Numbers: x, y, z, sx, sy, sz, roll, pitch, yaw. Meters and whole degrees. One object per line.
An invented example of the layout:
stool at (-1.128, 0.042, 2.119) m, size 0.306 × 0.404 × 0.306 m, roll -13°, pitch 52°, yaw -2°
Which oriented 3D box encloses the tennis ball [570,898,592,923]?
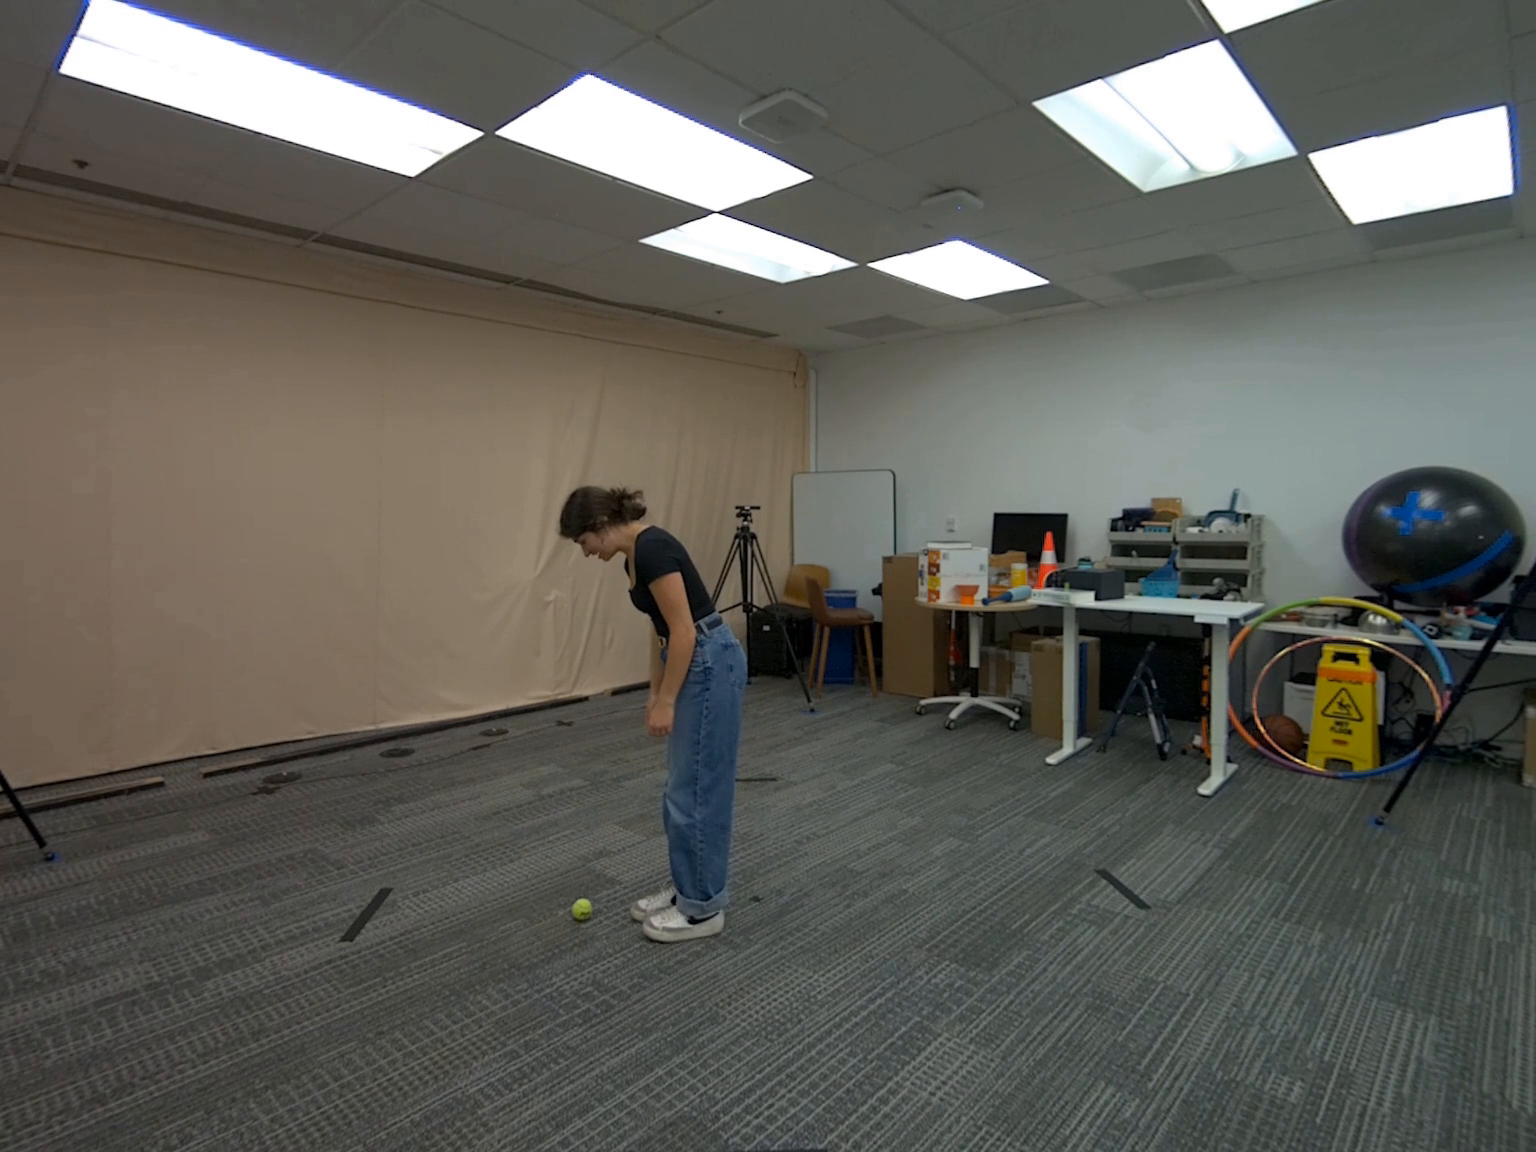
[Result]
tennis ball at (-0.628, 1.125, 2.845) m, size 0.066 × 0.066 × 0.067 m, roll 0°, pitch 4°, yaw -2°
